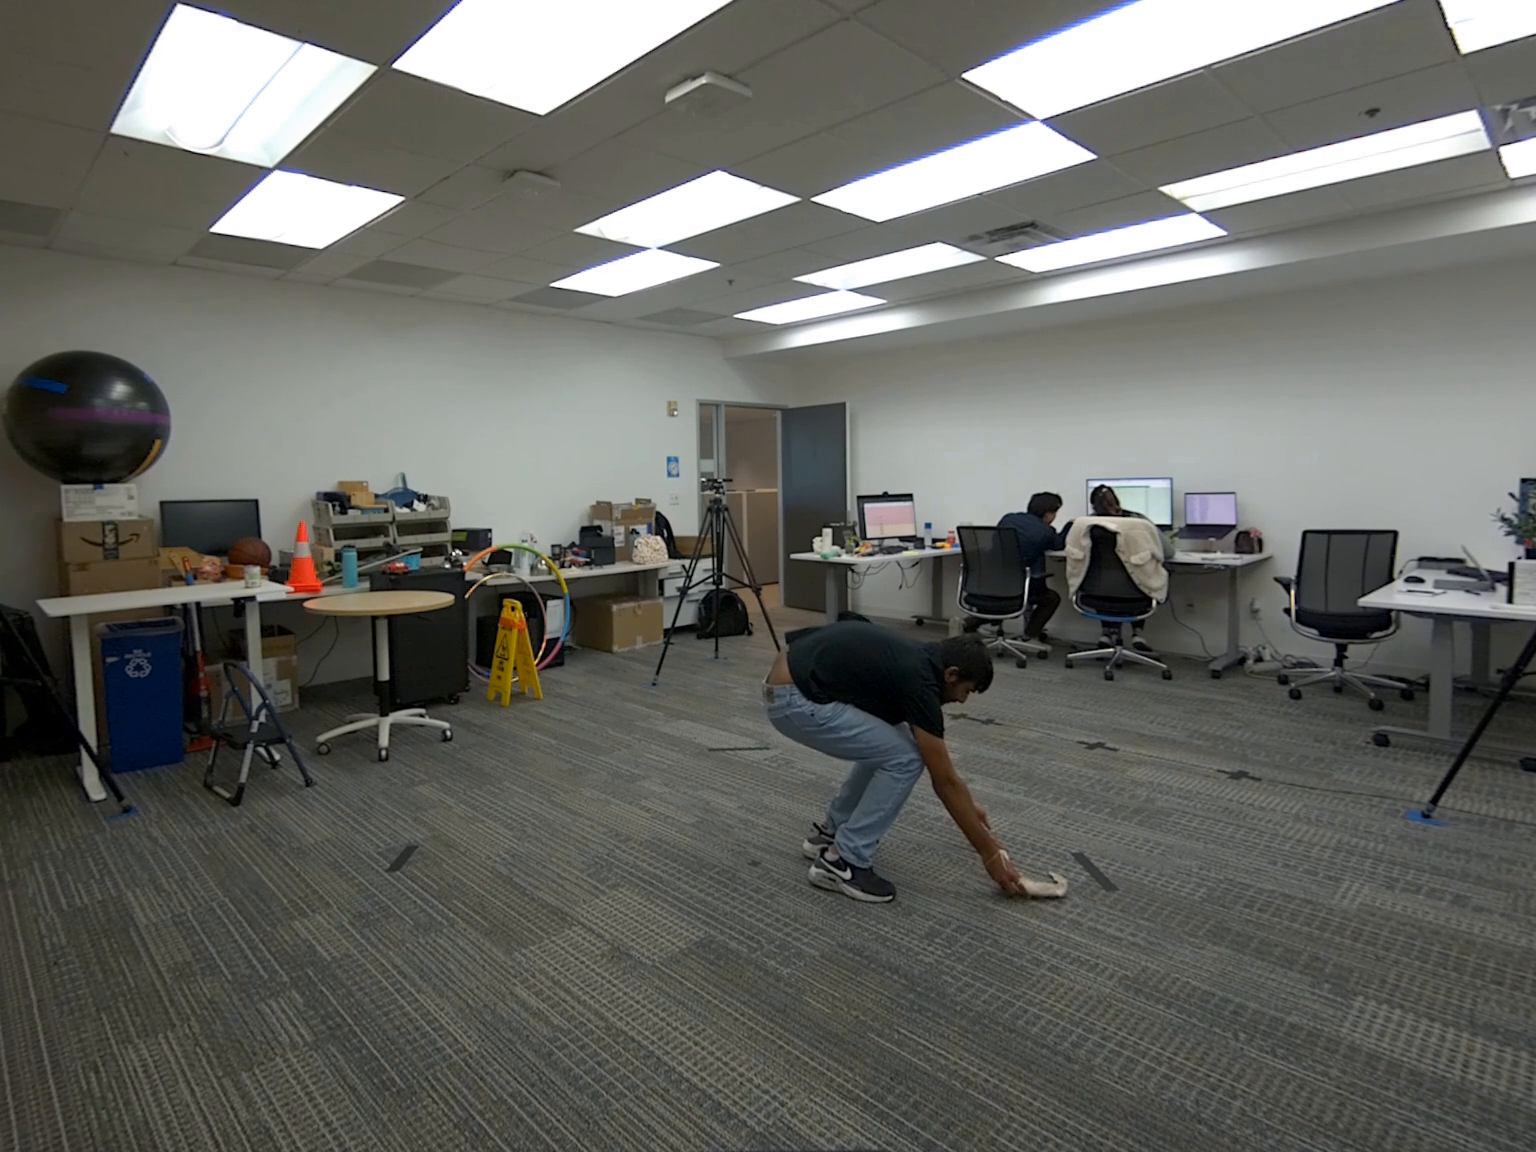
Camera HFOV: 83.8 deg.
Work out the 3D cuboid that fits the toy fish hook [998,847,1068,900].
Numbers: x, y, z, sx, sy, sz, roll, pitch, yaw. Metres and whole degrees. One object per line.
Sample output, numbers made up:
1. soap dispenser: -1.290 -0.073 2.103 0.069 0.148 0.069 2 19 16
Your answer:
1. toy fish hook: 0.903 1.018 3.042 0.224 0.048 0.510 10 6 -4
